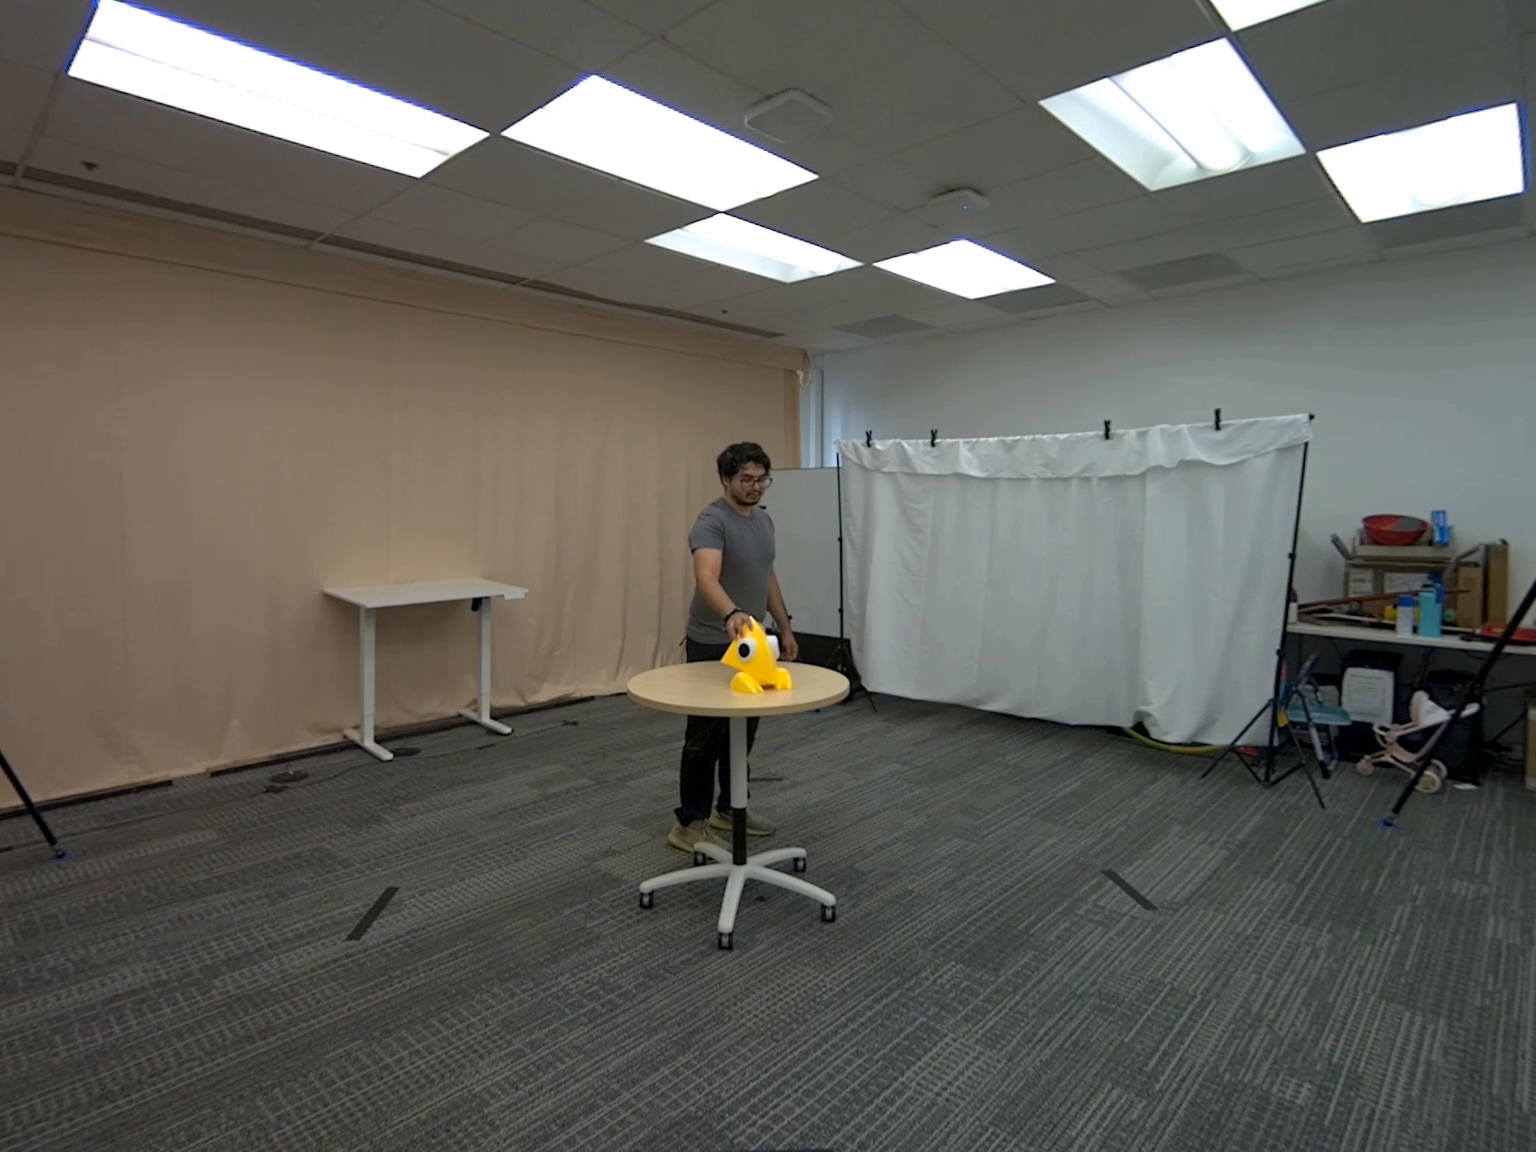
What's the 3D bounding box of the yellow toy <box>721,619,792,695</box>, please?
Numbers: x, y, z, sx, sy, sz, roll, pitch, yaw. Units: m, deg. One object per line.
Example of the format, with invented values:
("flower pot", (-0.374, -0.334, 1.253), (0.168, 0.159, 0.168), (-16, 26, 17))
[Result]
("yellow toy", (-0.025, 0.256, 2.834), (0.200, 0.230, 0.198), (-3, 5, -27))
